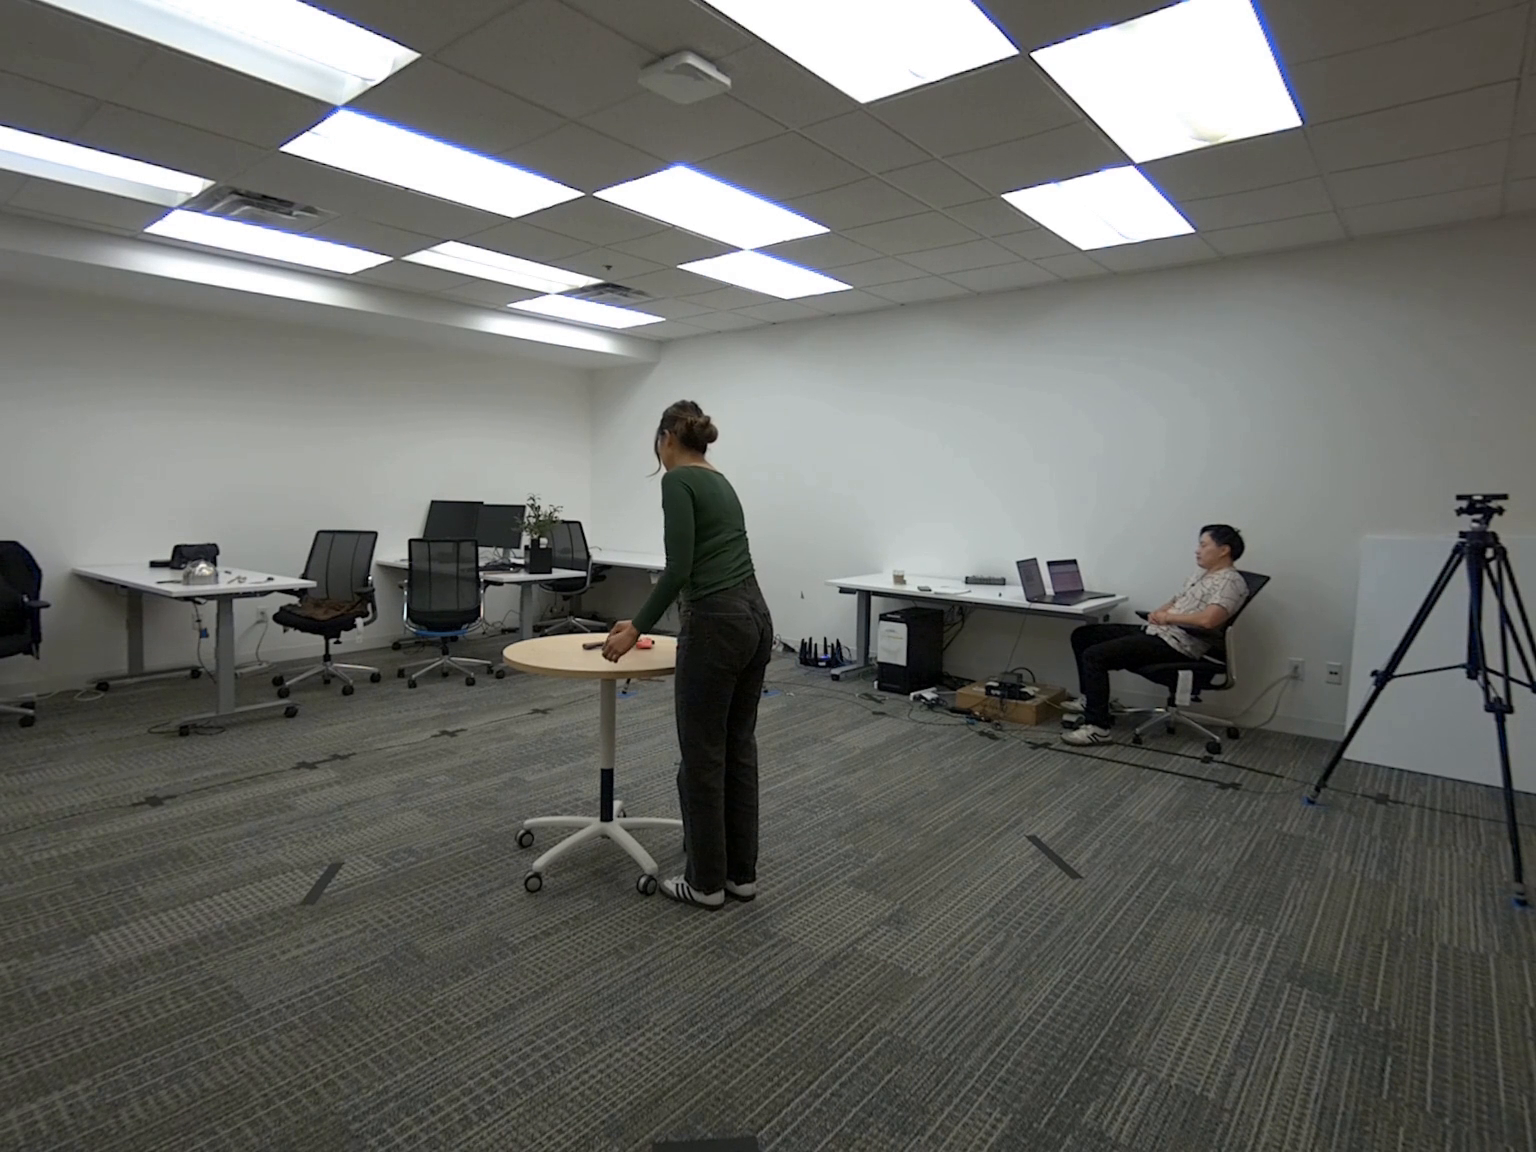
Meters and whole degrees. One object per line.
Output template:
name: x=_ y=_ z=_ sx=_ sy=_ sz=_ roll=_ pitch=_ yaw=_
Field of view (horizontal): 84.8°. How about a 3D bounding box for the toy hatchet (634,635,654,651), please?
toy hatchet: x=-0.567 y=0.256 z=3.198 sx=0.263 sy=0.029 sz=0.135 roll=-4 pitch=8 yaw=-33
